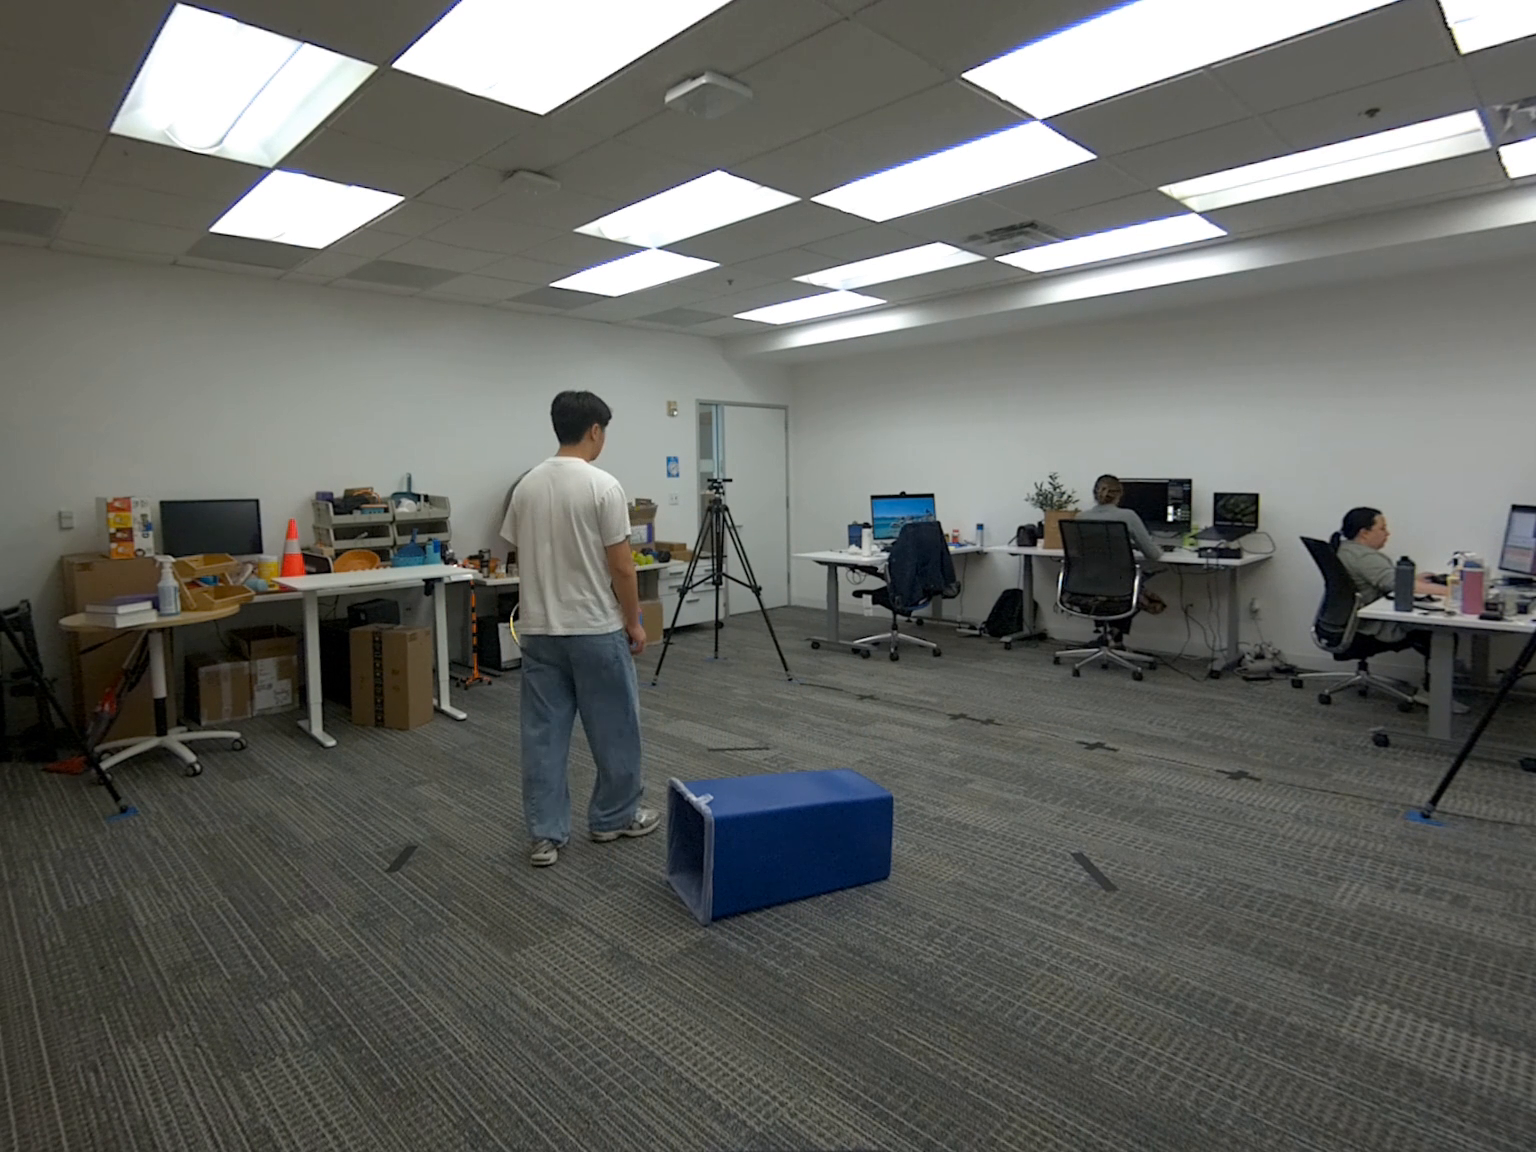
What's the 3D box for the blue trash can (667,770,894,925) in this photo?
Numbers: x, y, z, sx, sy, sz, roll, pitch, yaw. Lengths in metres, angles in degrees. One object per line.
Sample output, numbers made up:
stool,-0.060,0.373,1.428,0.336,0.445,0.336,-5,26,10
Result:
blue trash can,0.043,0.894,2.957,0.698,0.377,0.383,-1,4,-25
